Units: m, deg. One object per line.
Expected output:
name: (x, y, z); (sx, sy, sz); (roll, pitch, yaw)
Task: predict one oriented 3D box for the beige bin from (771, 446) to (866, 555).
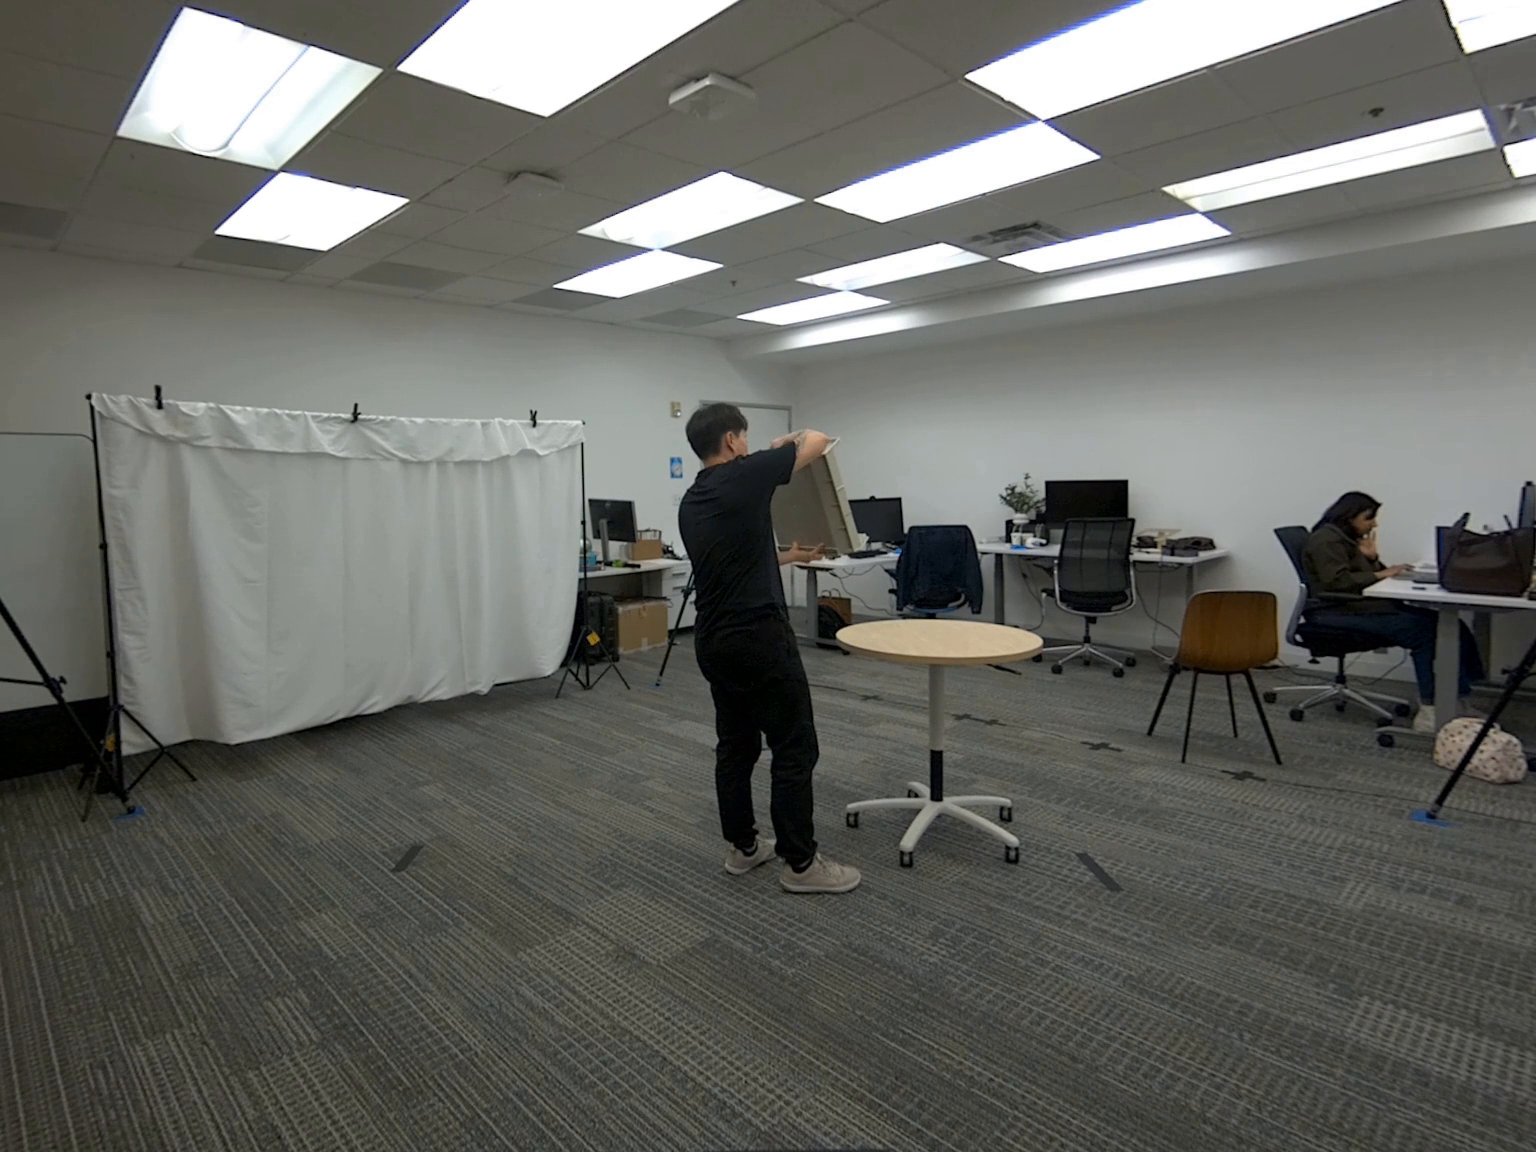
beige bin: (0.166, -0.304, 3.336); (0.389, 0.413, 0.187); (4, 29, 46)
